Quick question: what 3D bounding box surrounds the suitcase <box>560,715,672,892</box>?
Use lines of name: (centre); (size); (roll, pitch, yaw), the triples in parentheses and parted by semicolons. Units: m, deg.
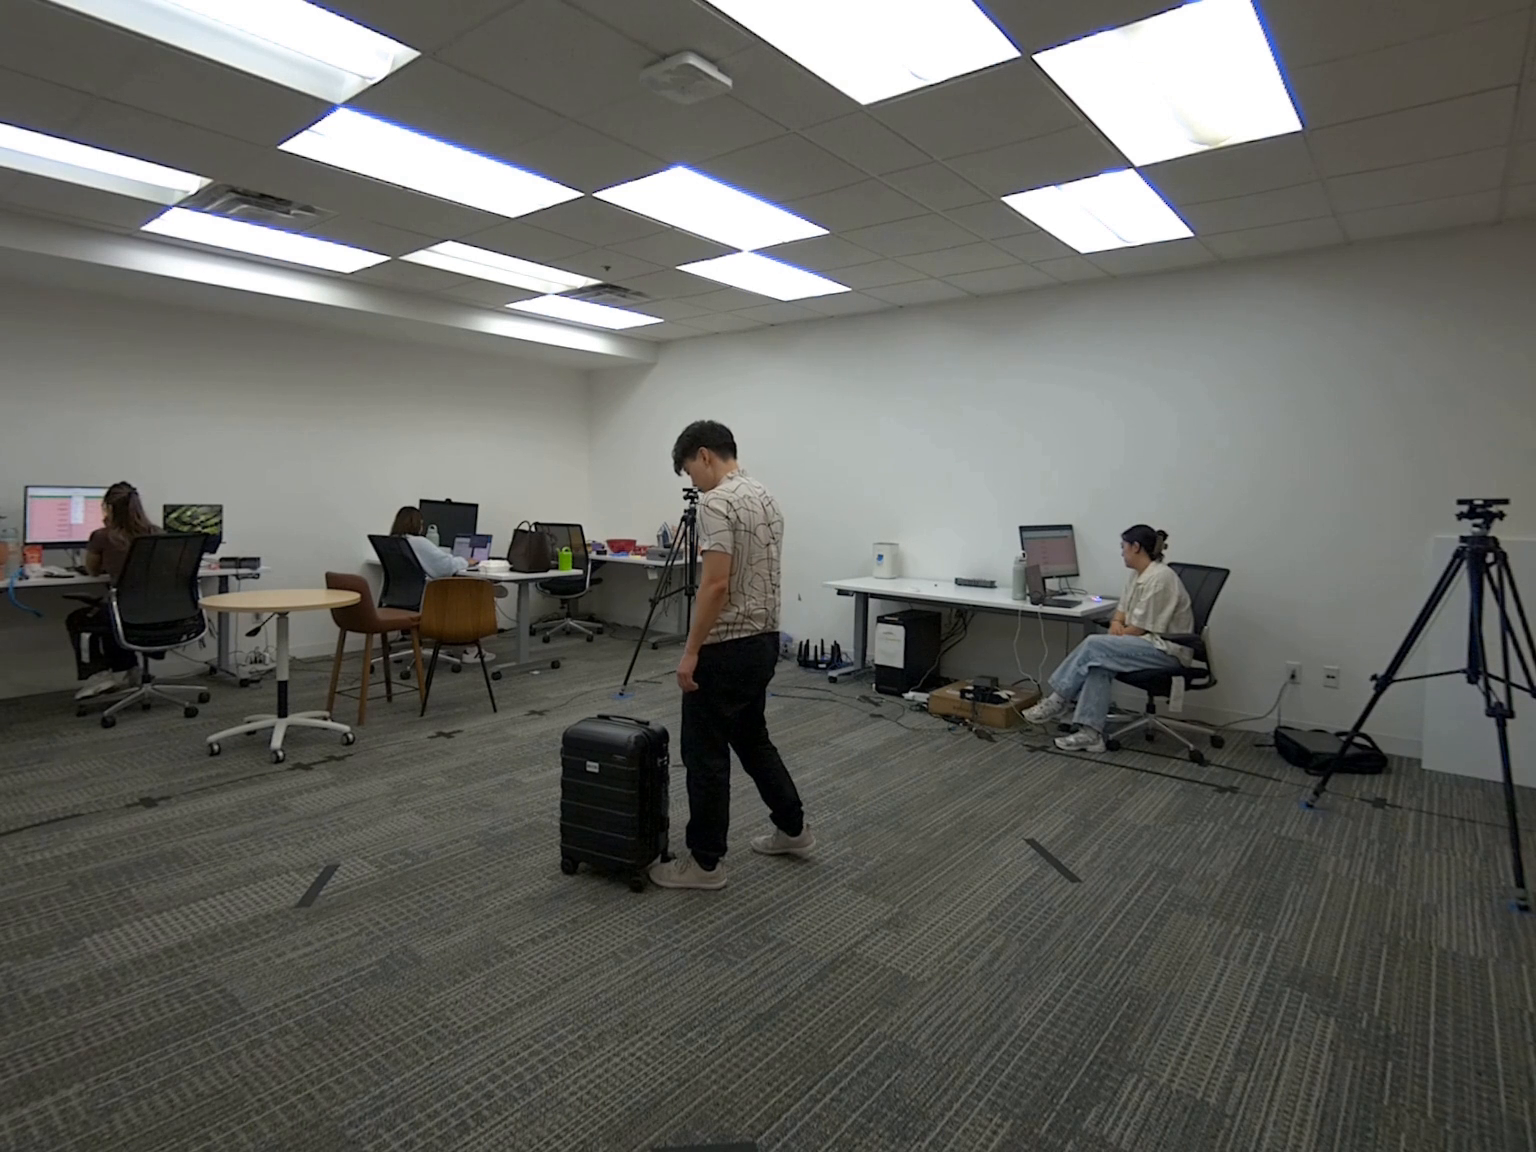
suitcase: (-0.560, 0.788, 3.084); (0.385, 0.548, 0.242); (3, 4, 26)
